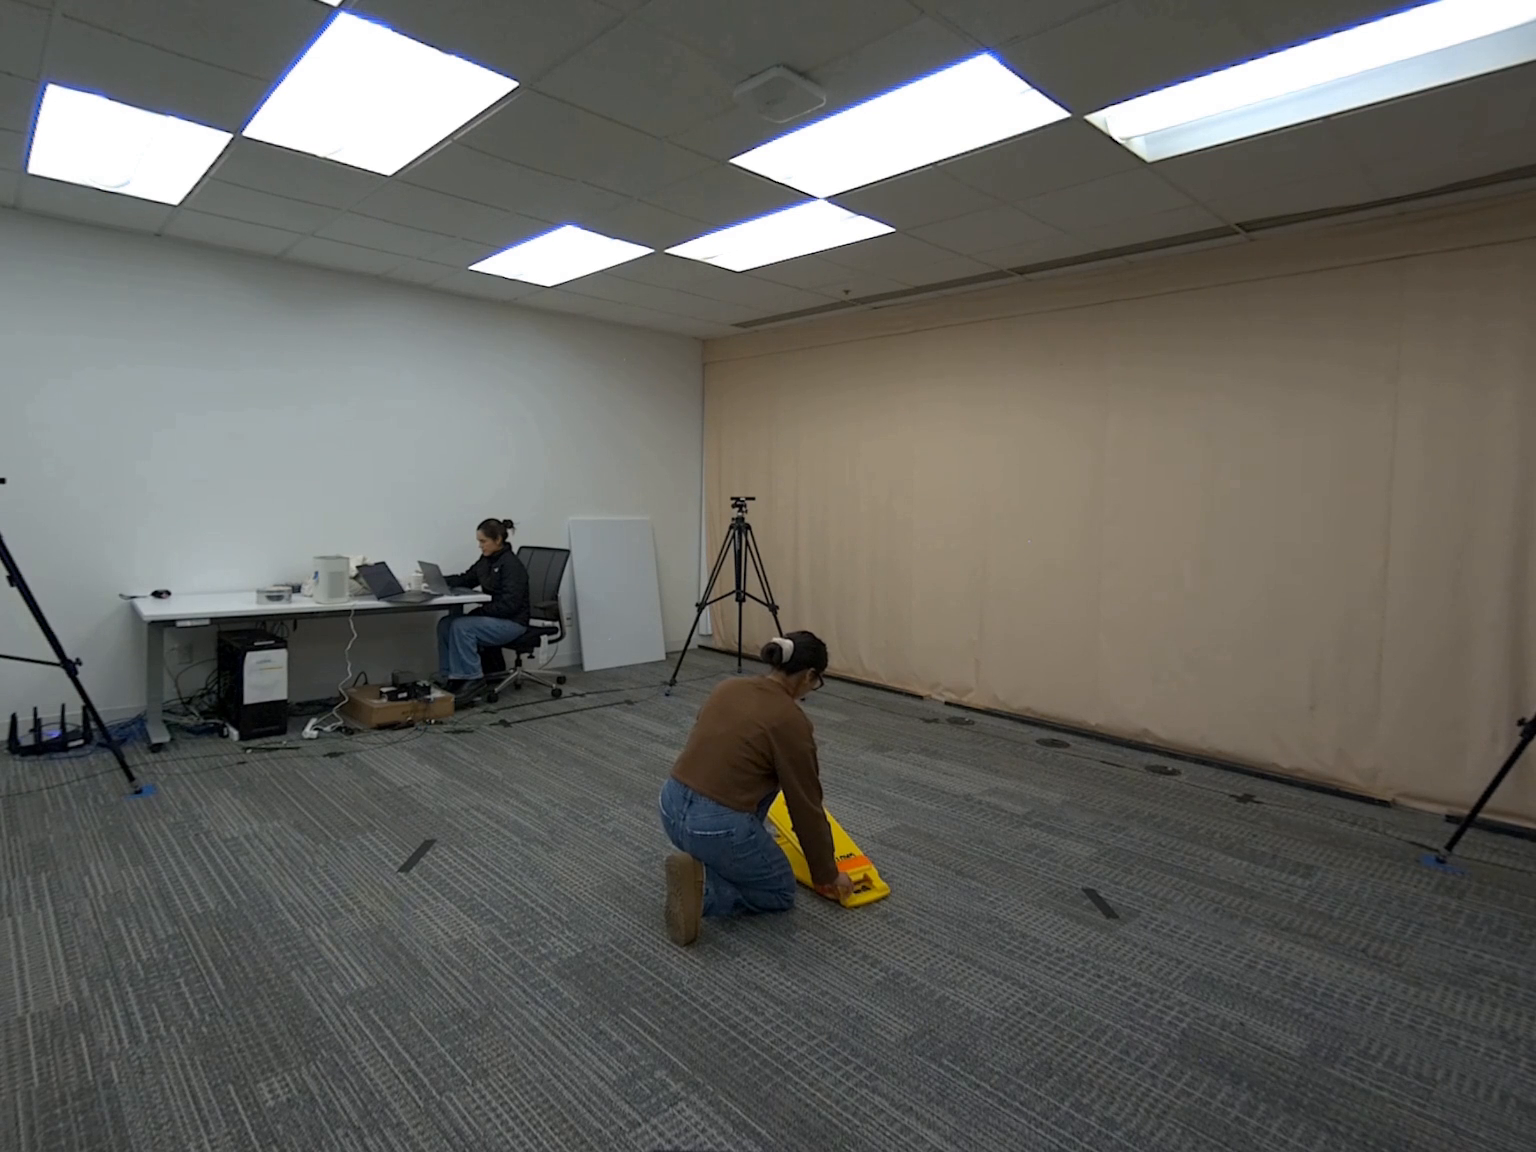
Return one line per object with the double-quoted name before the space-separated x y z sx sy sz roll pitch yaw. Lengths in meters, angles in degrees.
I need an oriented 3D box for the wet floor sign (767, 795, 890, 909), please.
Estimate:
"wet floor sign" 0.166 1.036 3.176 0.276 0.287 0.665 -3 17 -33
